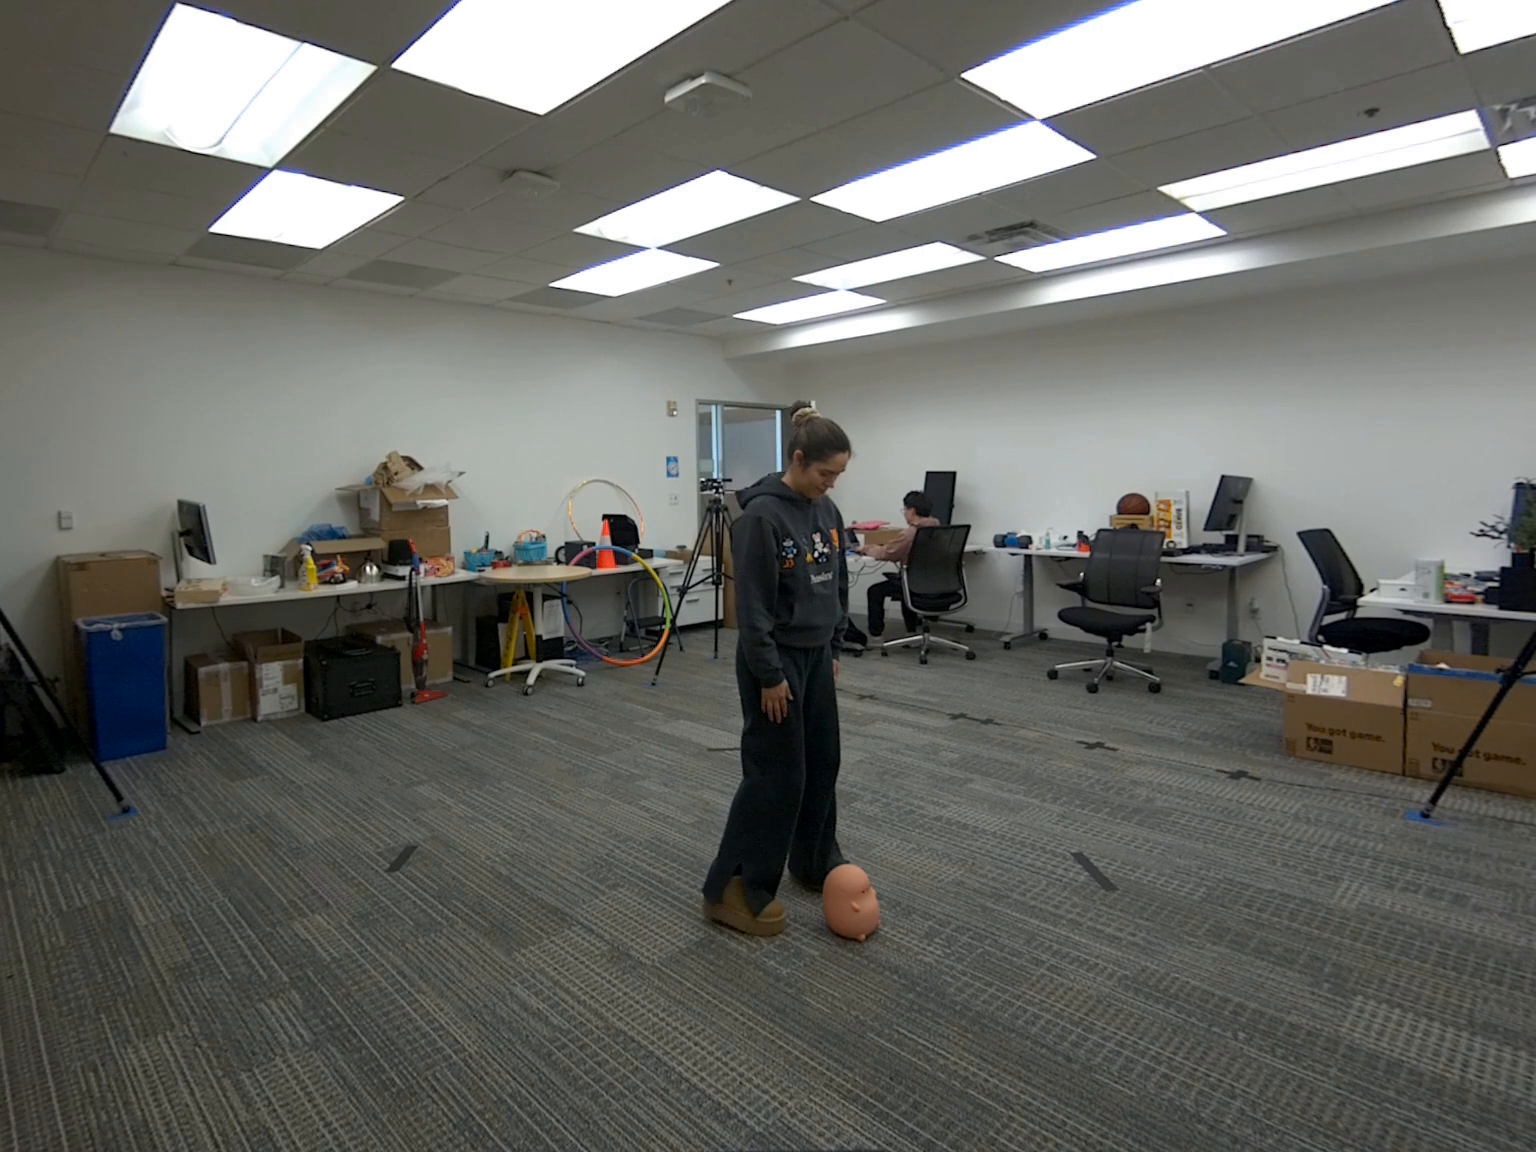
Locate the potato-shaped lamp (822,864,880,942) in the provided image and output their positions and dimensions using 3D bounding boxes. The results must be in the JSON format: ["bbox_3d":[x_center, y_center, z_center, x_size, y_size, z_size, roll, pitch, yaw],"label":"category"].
[{"bbox_3d":[0.252,0.985,2.622,0.176,0.197,0.161,3,6,36],"label":"potato-shaped lamp"}]
